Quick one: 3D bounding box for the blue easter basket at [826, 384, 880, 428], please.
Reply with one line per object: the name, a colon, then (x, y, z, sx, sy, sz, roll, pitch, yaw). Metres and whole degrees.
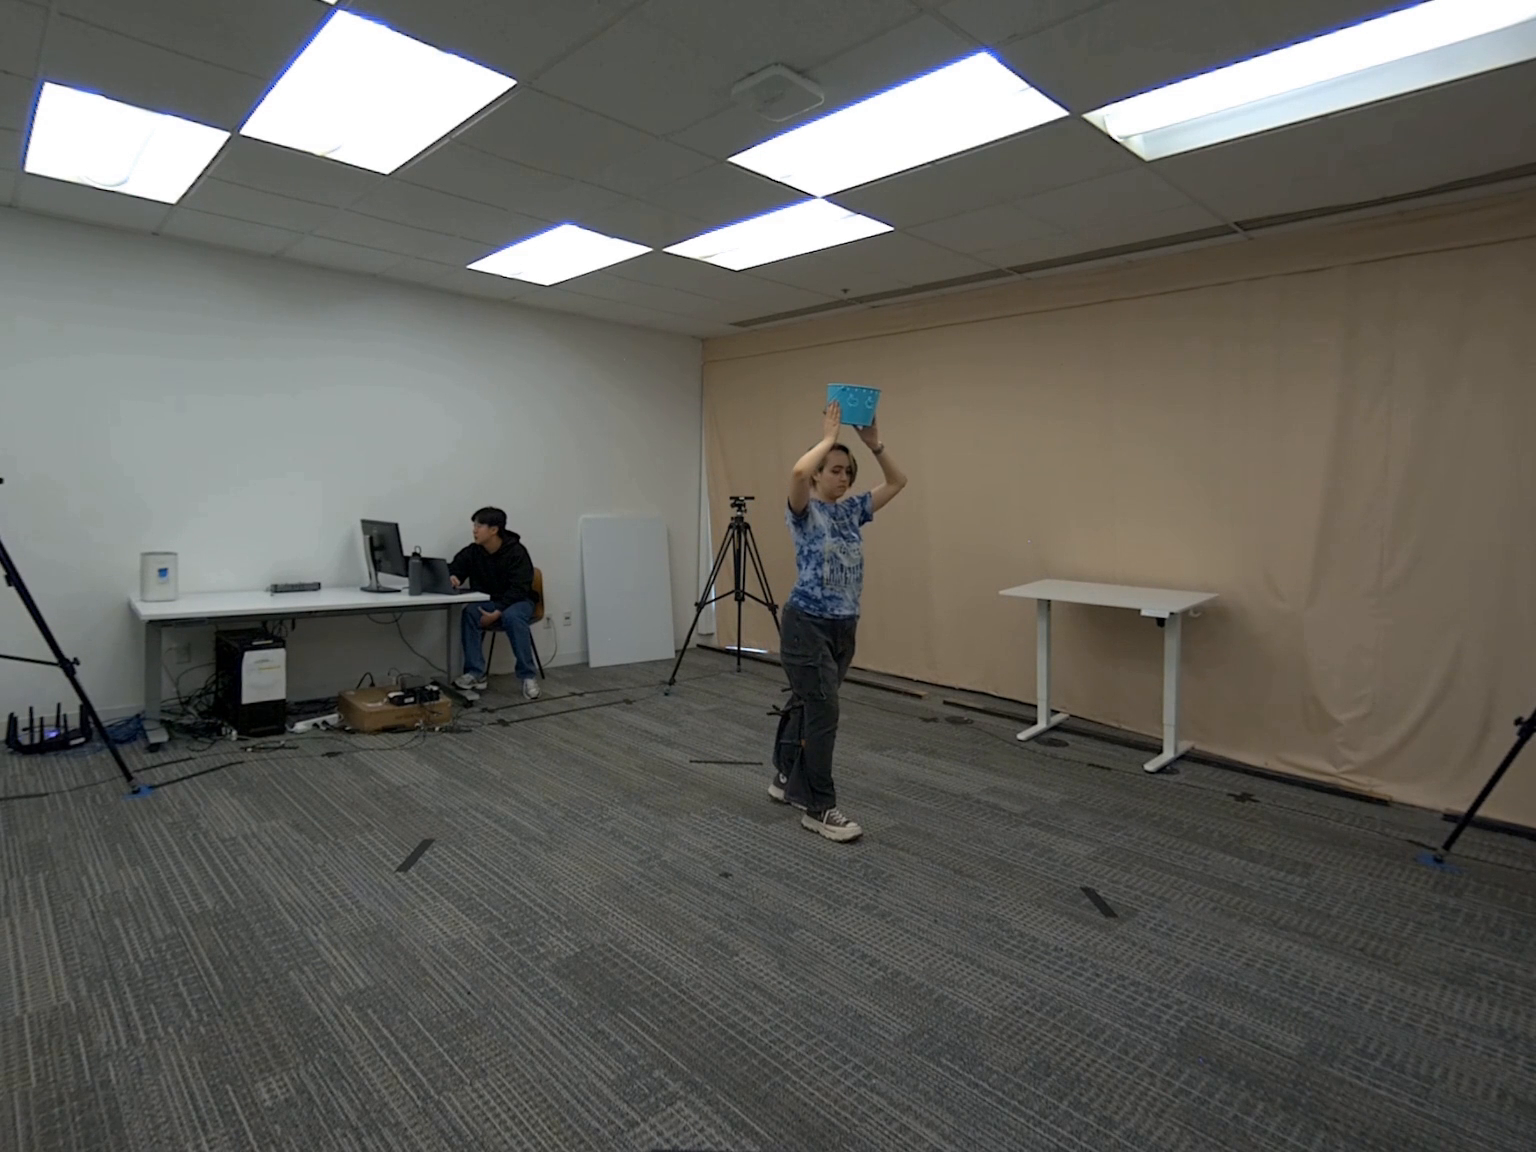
blue easter basket: (0.350, -0.716, 3.544, 0.243, 0.155, 0.245, 8, 9, -3)
